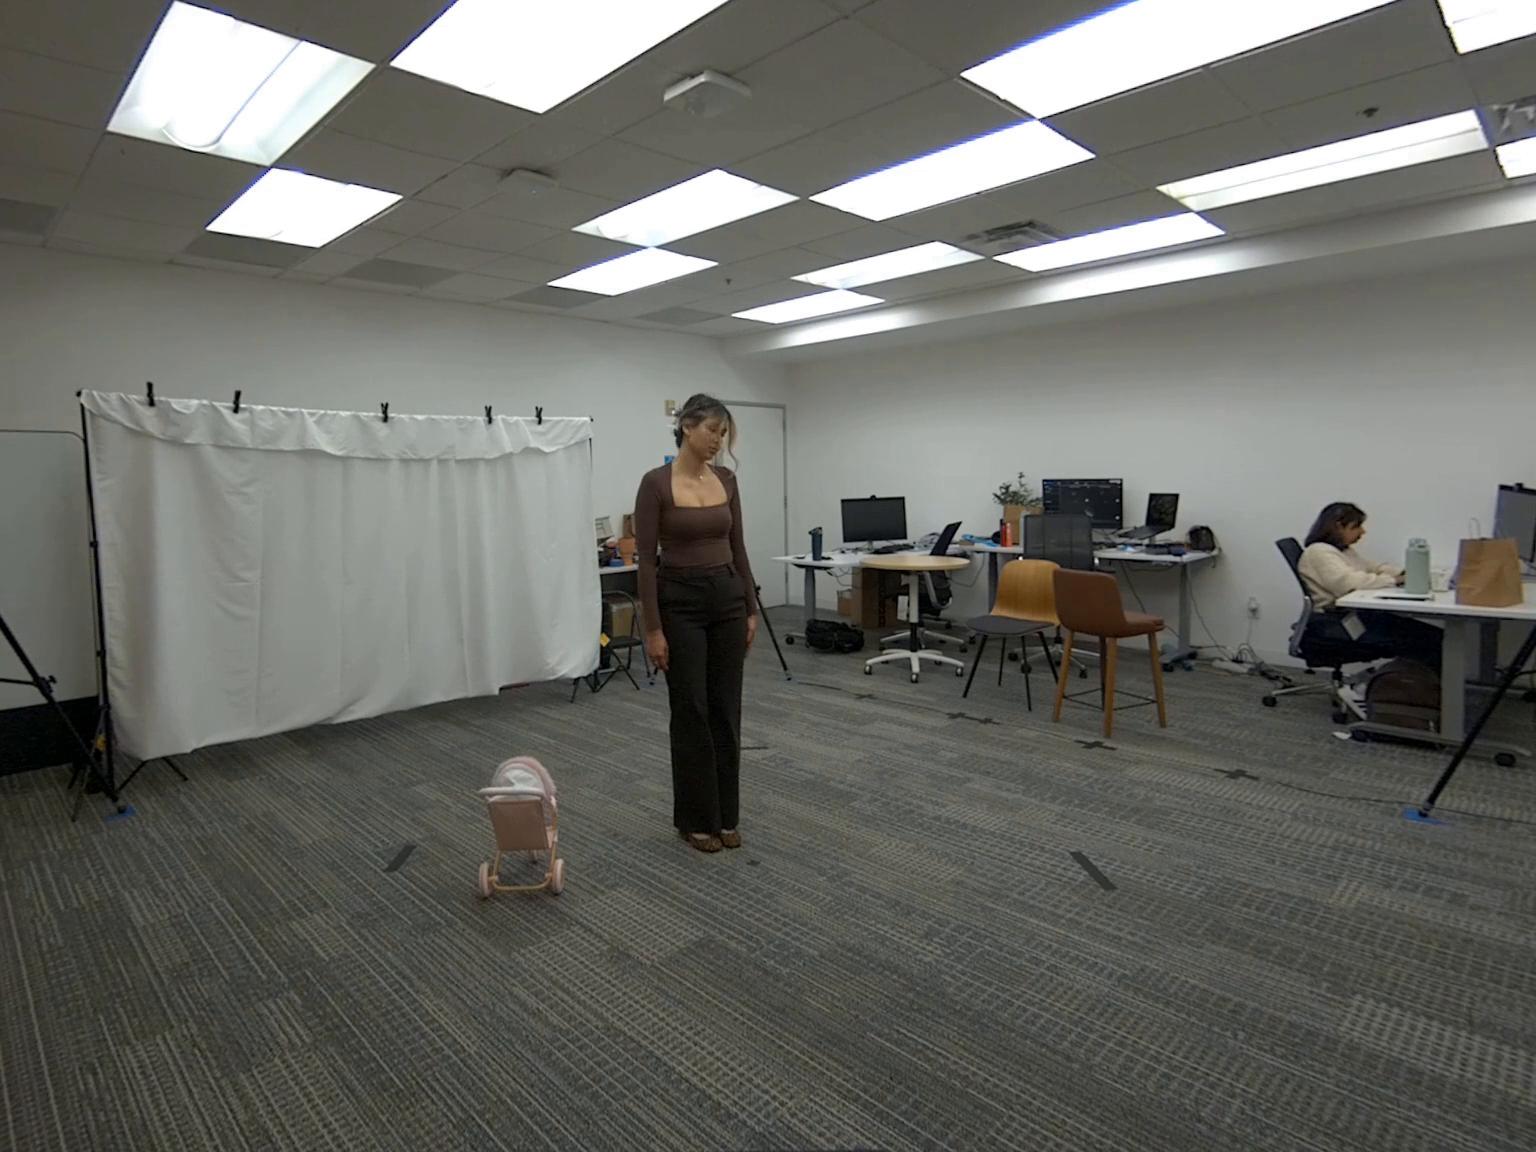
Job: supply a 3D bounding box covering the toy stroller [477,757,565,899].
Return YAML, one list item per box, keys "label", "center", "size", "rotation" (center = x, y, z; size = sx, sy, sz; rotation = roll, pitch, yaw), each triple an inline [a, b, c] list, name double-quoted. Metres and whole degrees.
- label: "toy stroller"
  center: [-0.842, 0.851, 2.956]
  size: [0.281, 0.525, 0.348]
  rotation: [-1, 21, -1]
